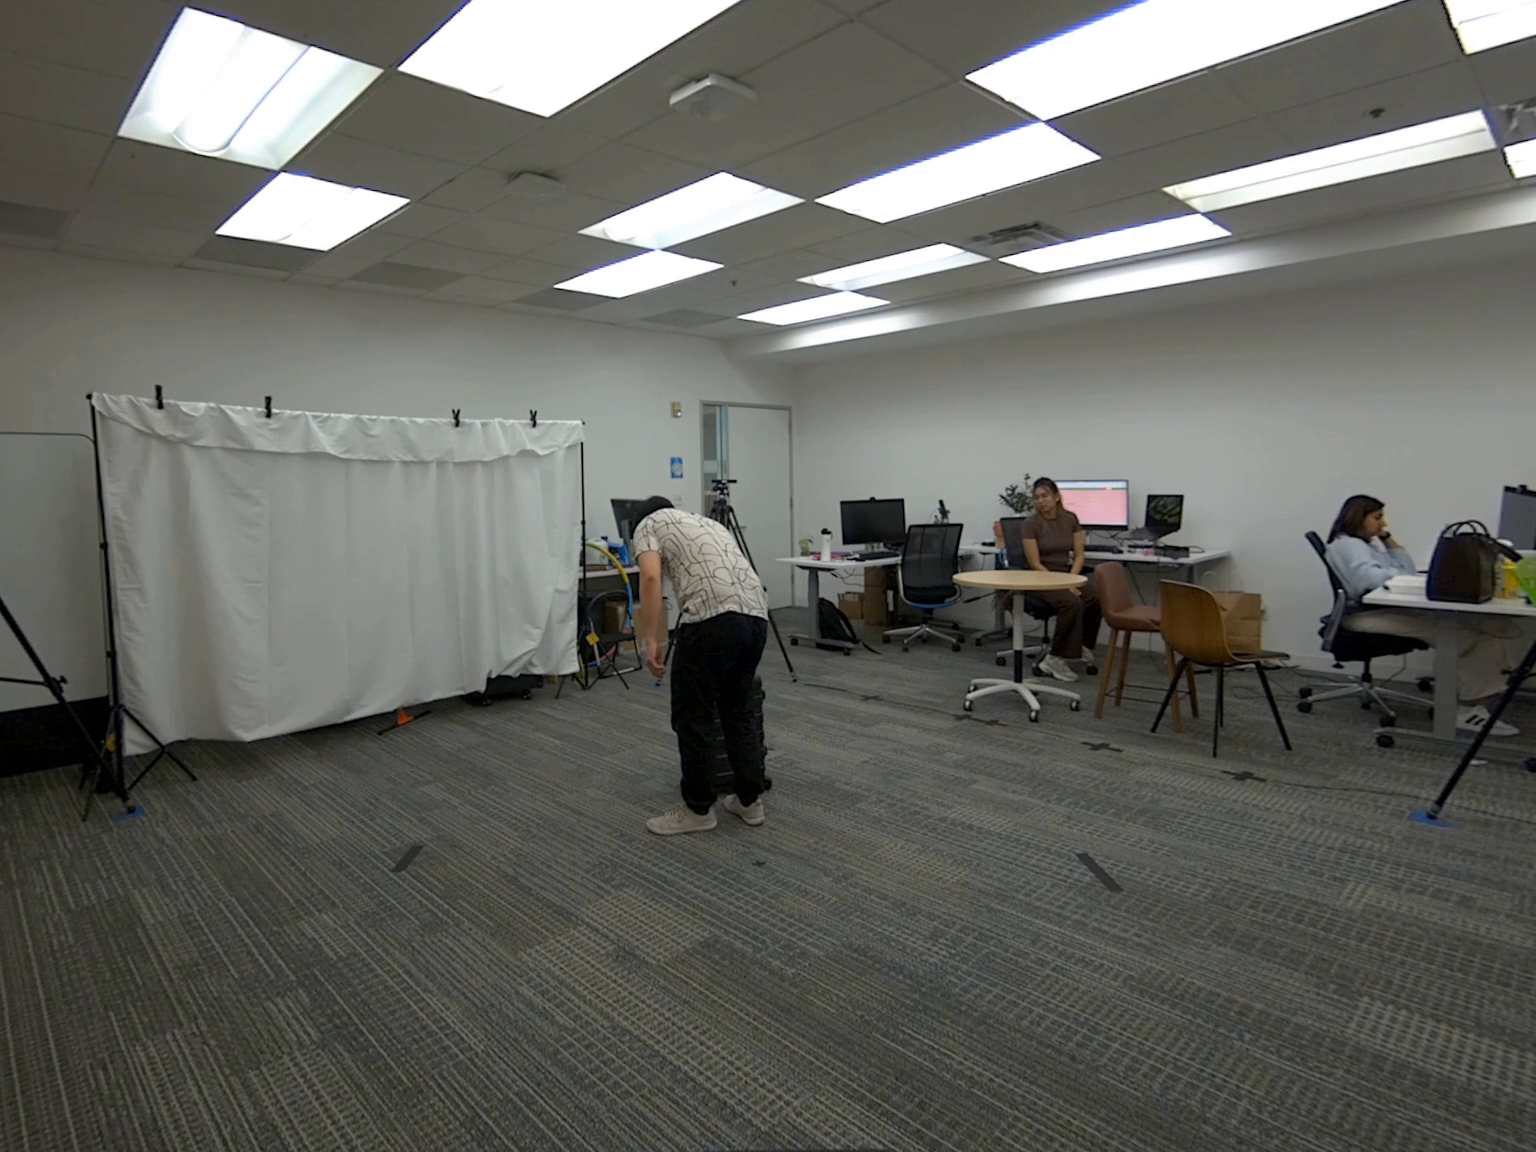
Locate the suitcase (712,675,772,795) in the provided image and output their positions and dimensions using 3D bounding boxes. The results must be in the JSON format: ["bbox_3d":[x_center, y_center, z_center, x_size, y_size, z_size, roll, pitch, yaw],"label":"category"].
[{"bbox_3d":[-0.211,0.689,3.888,0.368,0.547,0.254,-5,4,-23],"label":"suitcase"}]
